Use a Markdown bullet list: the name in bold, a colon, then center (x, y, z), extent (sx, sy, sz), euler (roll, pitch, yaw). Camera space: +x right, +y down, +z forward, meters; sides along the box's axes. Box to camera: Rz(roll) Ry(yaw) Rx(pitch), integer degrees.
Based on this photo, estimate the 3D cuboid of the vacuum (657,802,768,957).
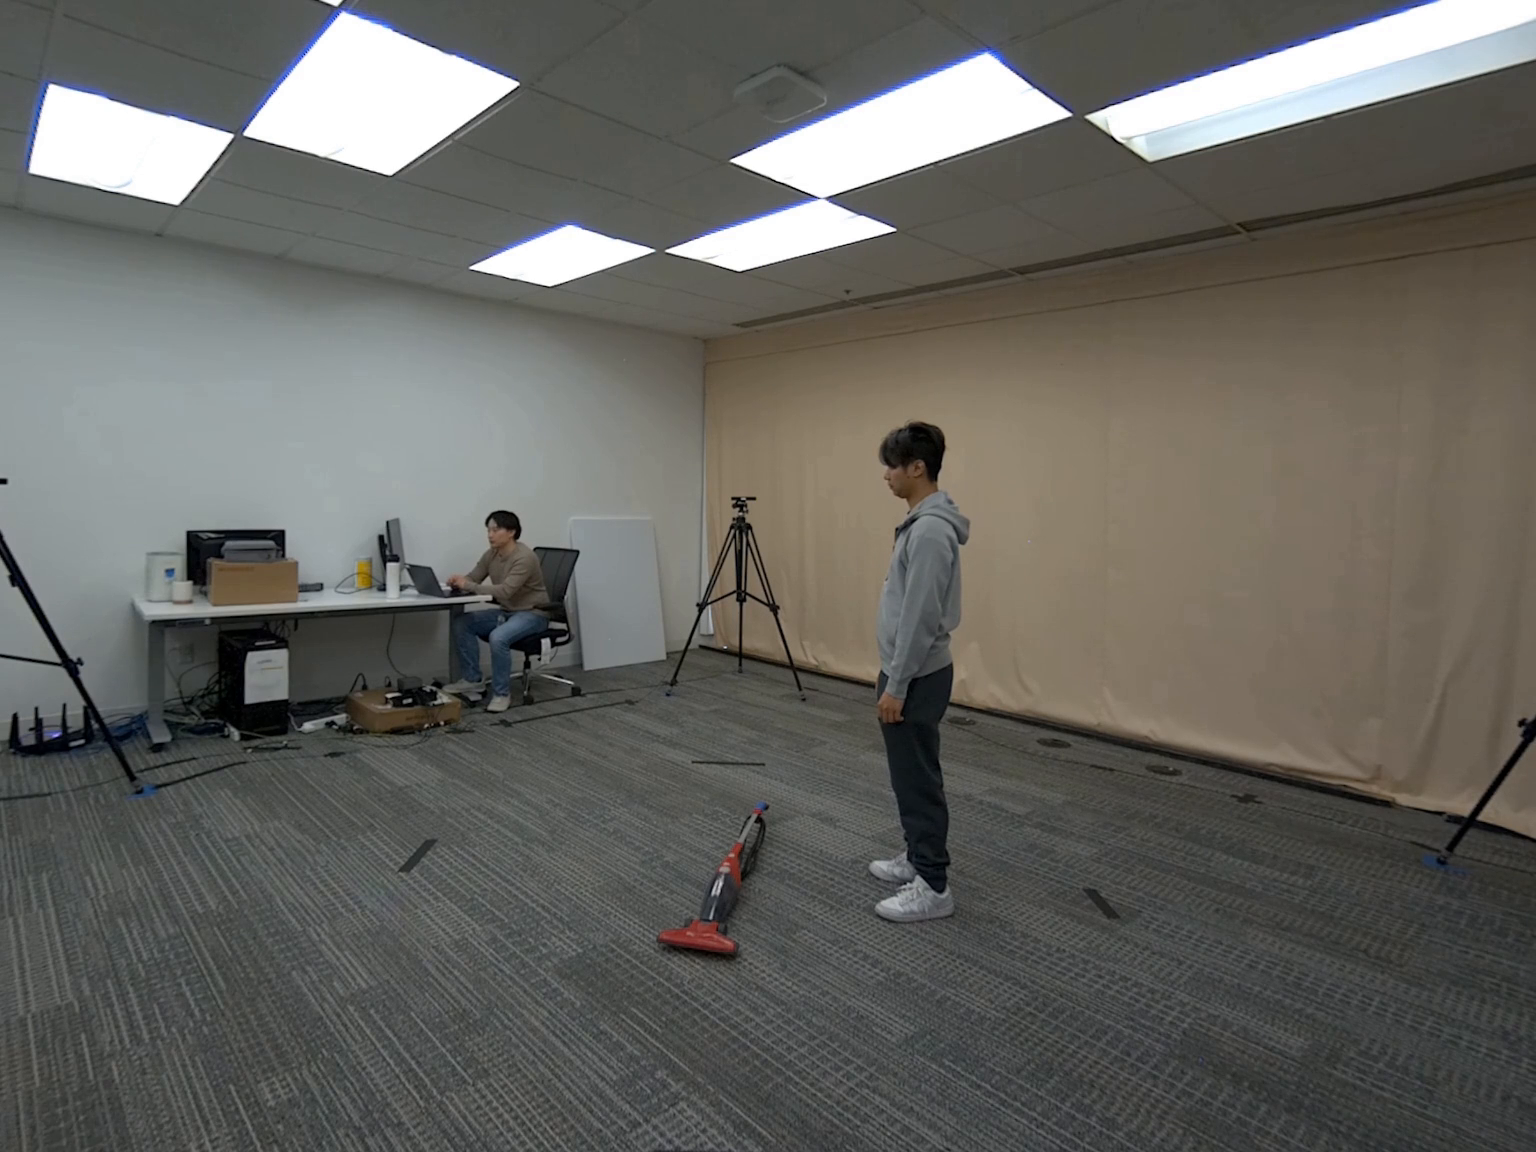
- **vacuum**: center (-0.108, 1.049, 3.138), extent (0.255, 0.143, 1.044), euler (-5, 6, 11)
